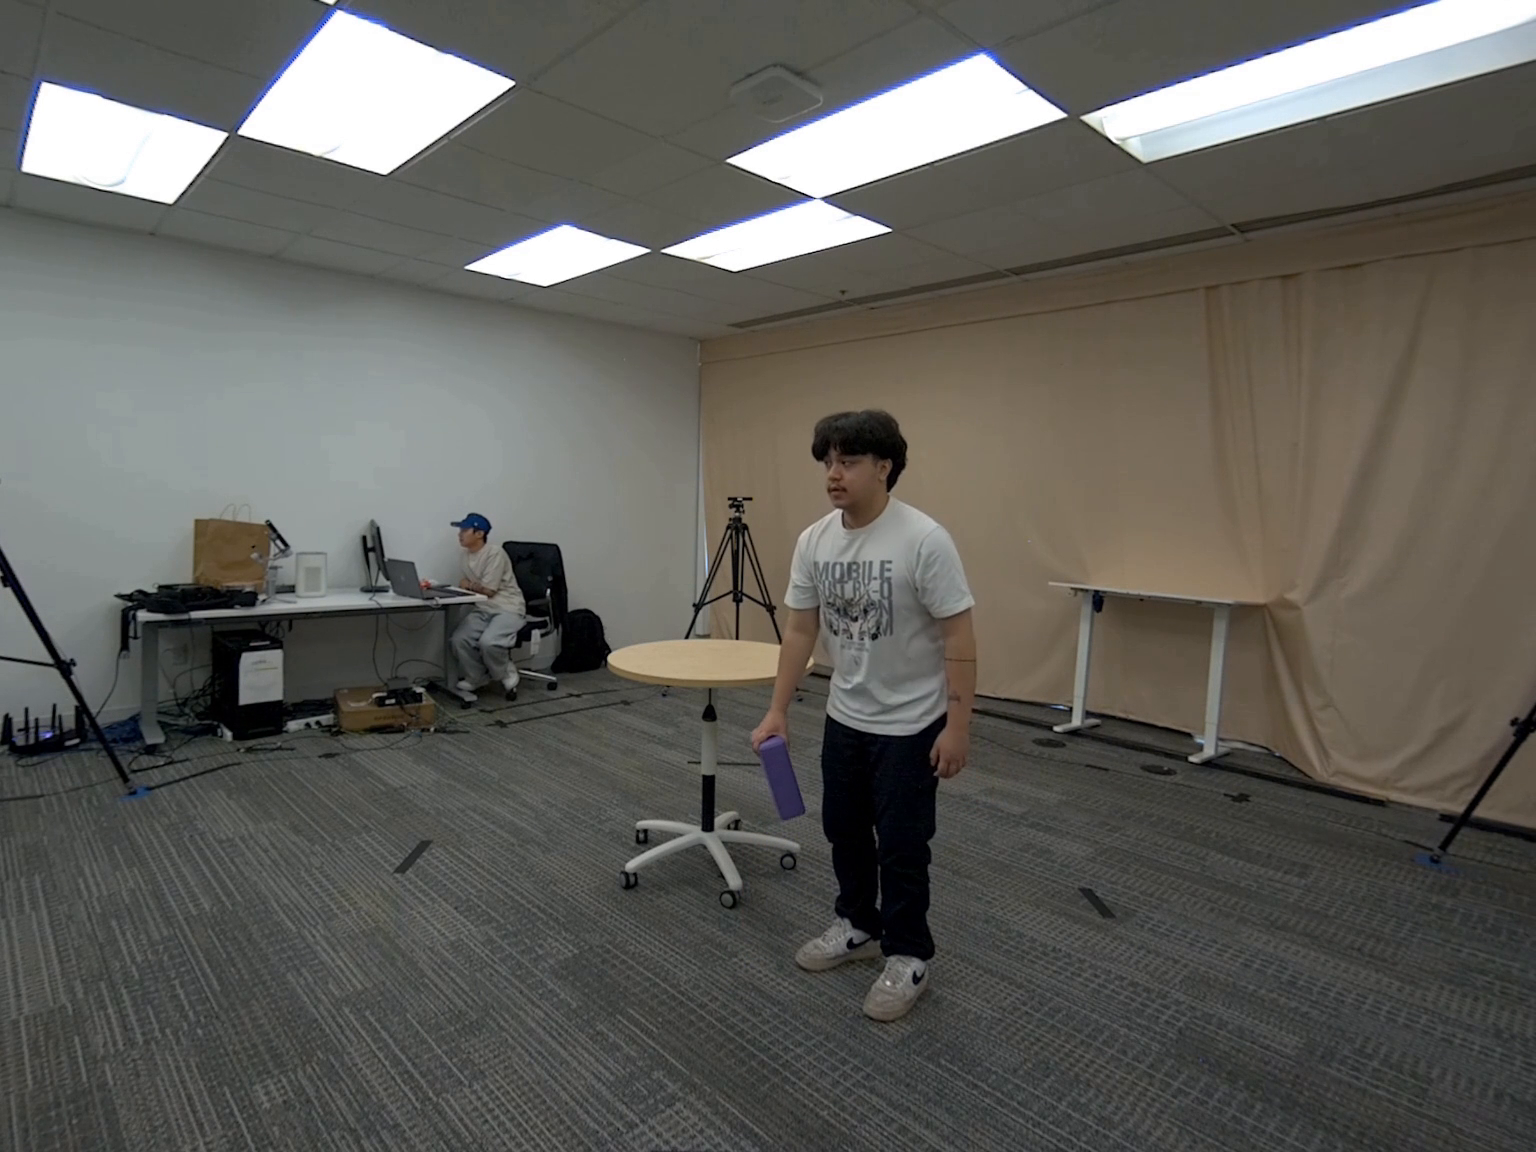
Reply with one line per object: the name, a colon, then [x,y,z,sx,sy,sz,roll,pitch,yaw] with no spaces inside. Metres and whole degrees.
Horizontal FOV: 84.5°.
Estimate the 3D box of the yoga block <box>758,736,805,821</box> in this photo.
yoga block: [0.041,0.583,2.471,0.076,0.227,0.150,-13,10,-2]
